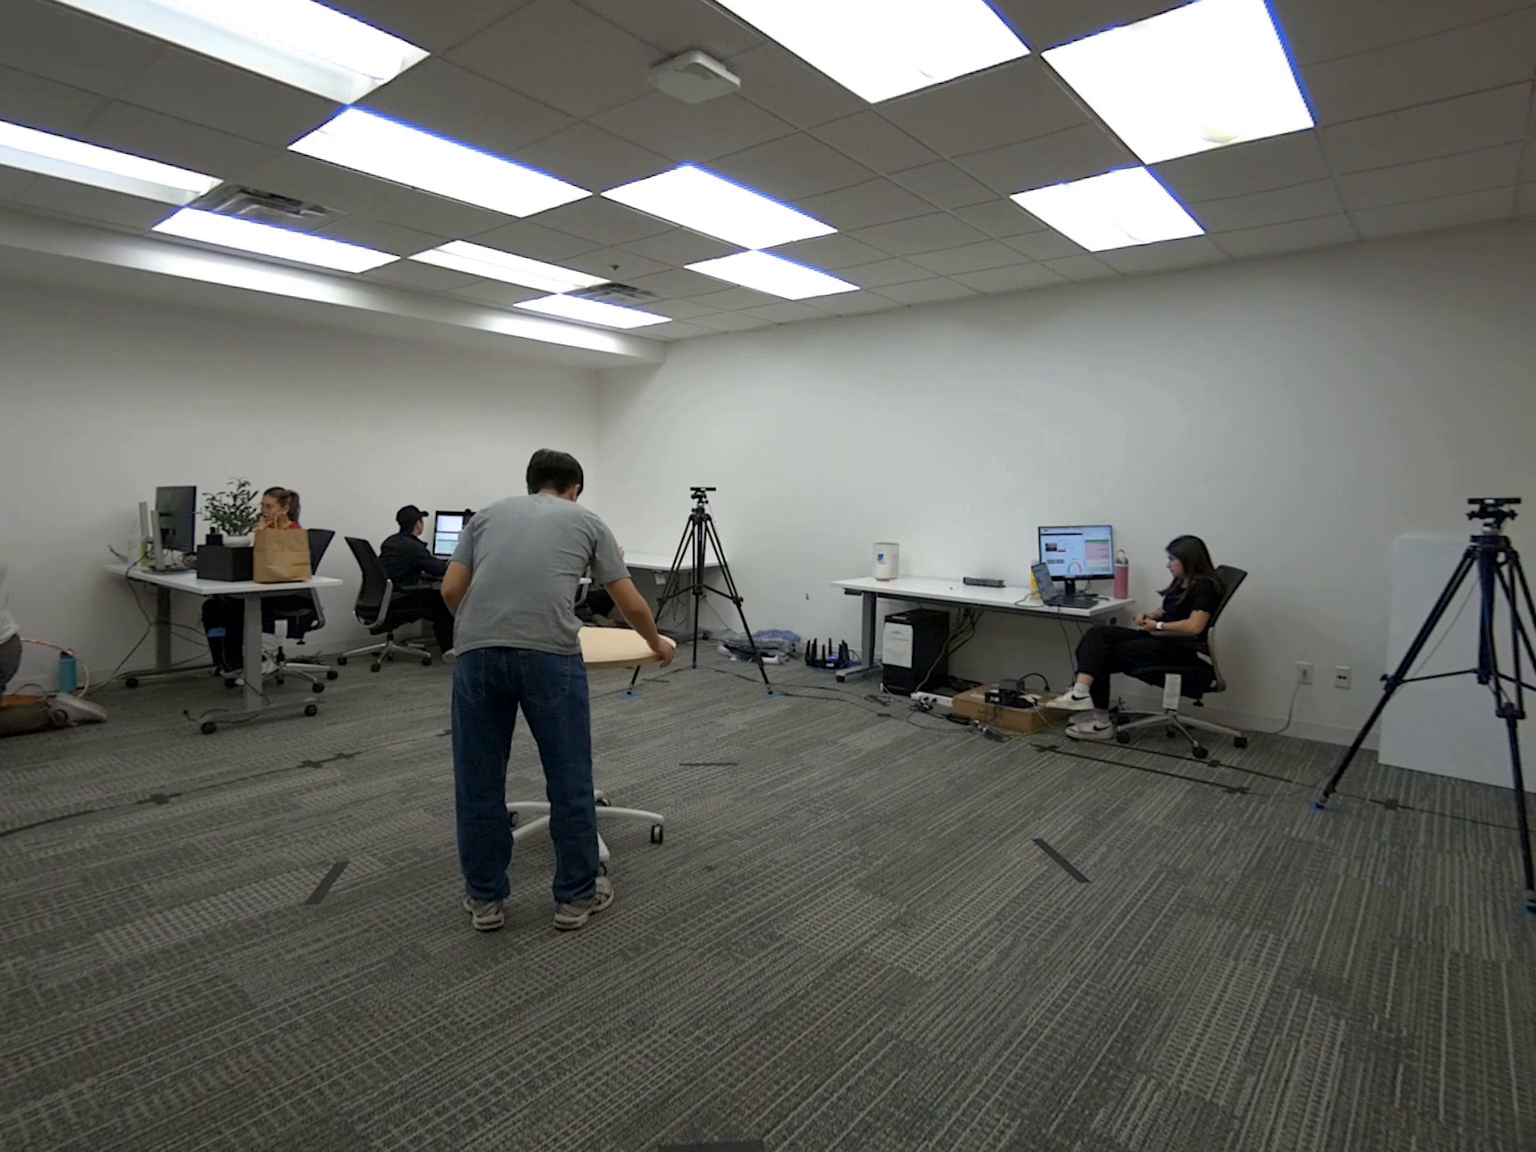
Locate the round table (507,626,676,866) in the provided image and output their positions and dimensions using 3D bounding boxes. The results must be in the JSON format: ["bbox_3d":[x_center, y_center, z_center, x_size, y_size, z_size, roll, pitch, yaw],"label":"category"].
[{"bbox_3d":[-0.754,0.650,3.288,0.763,0.792,0.767,1,4,-2],"label":"round table"}]
